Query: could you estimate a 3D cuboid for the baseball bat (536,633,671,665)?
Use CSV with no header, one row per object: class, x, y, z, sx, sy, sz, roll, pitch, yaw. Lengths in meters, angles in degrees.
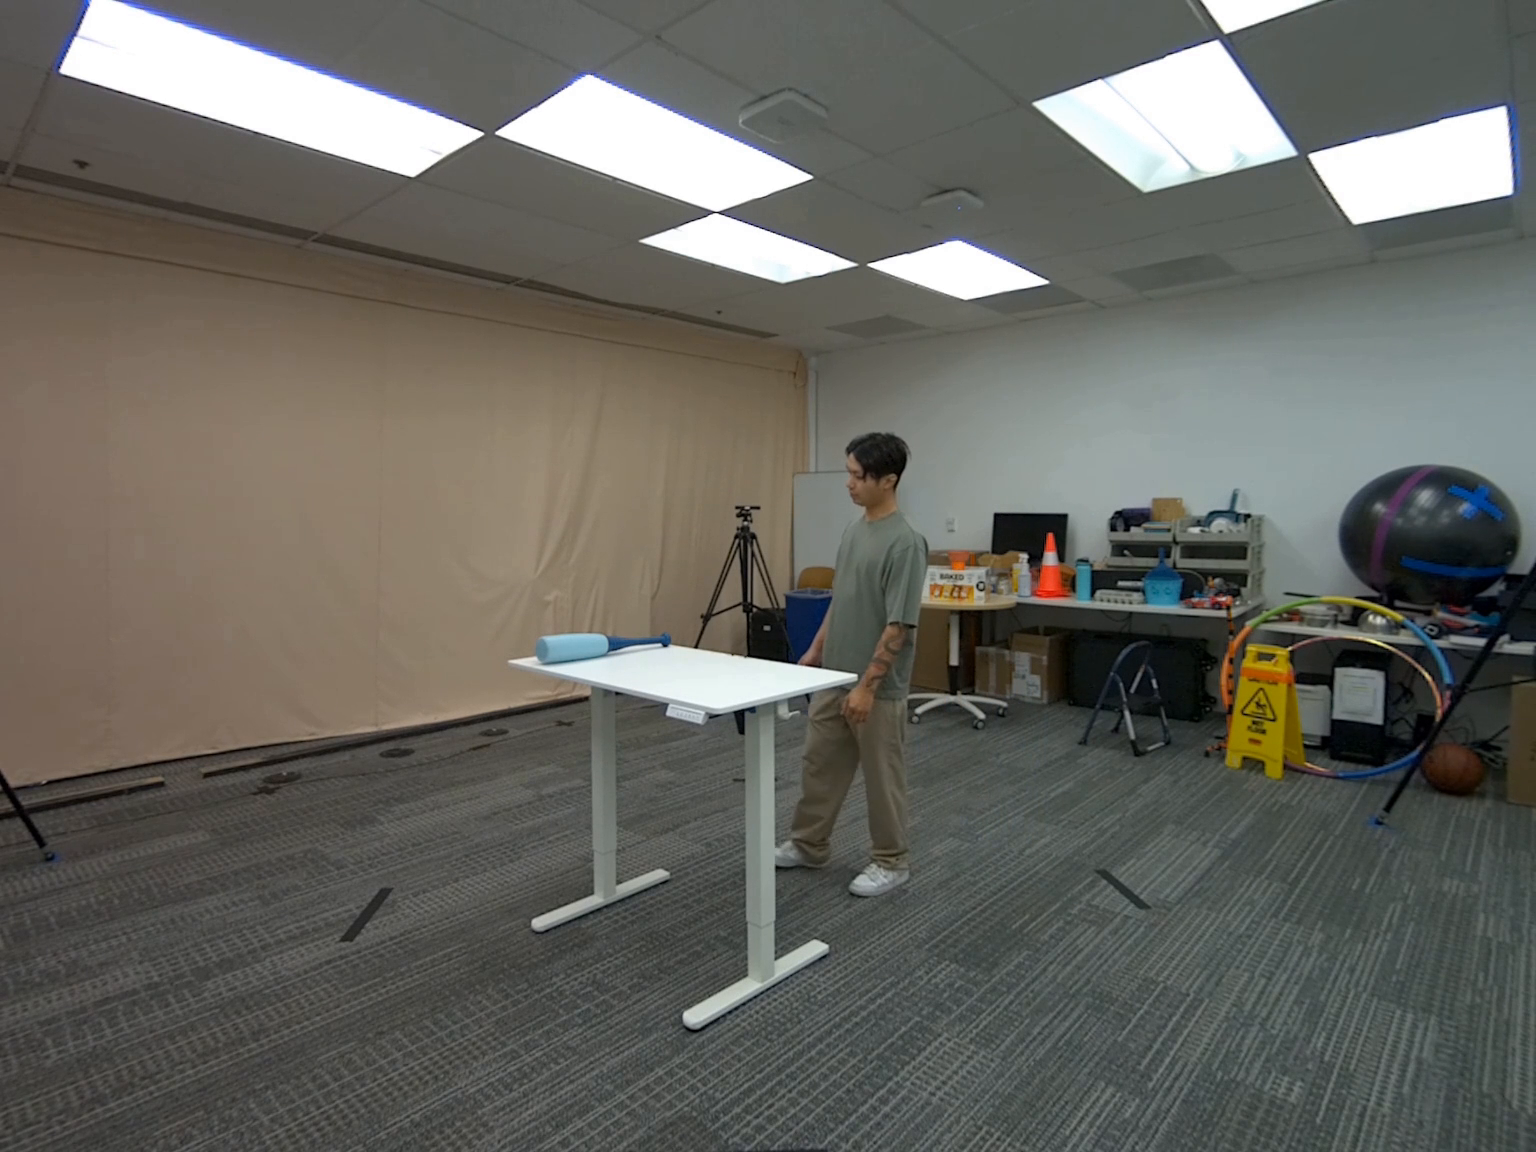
baseball bat,-0.557,0.241,2.909,0.092,0.089,0.525,4,2,44
